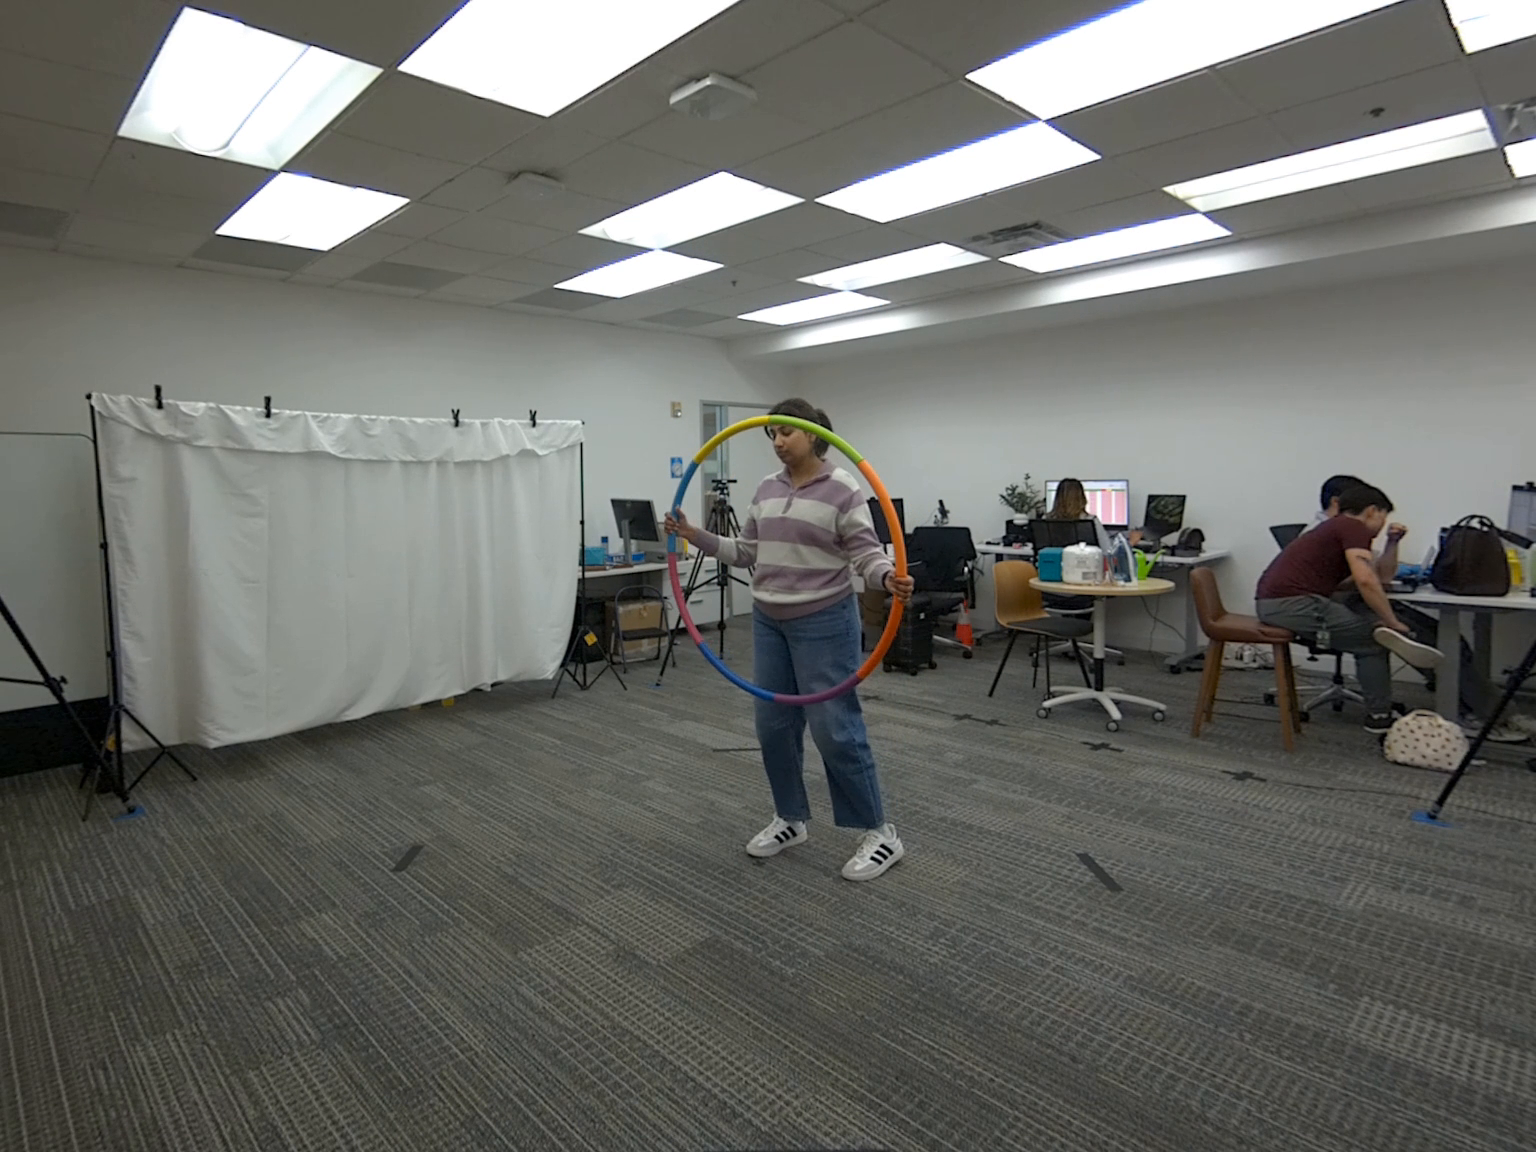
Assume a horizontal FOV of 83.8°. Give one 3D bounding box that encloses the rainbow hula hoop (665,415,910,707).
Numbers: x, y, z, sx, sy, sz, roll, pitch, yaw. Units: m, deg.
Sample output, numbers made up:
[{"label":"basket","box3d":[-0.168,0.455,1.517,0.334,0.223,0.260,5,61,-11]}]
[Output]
[{"label":"rainbow hula hoop","box3d":[0.025,-0.047,2.904,1.008,0.973,0.035,3,8,38]}]
